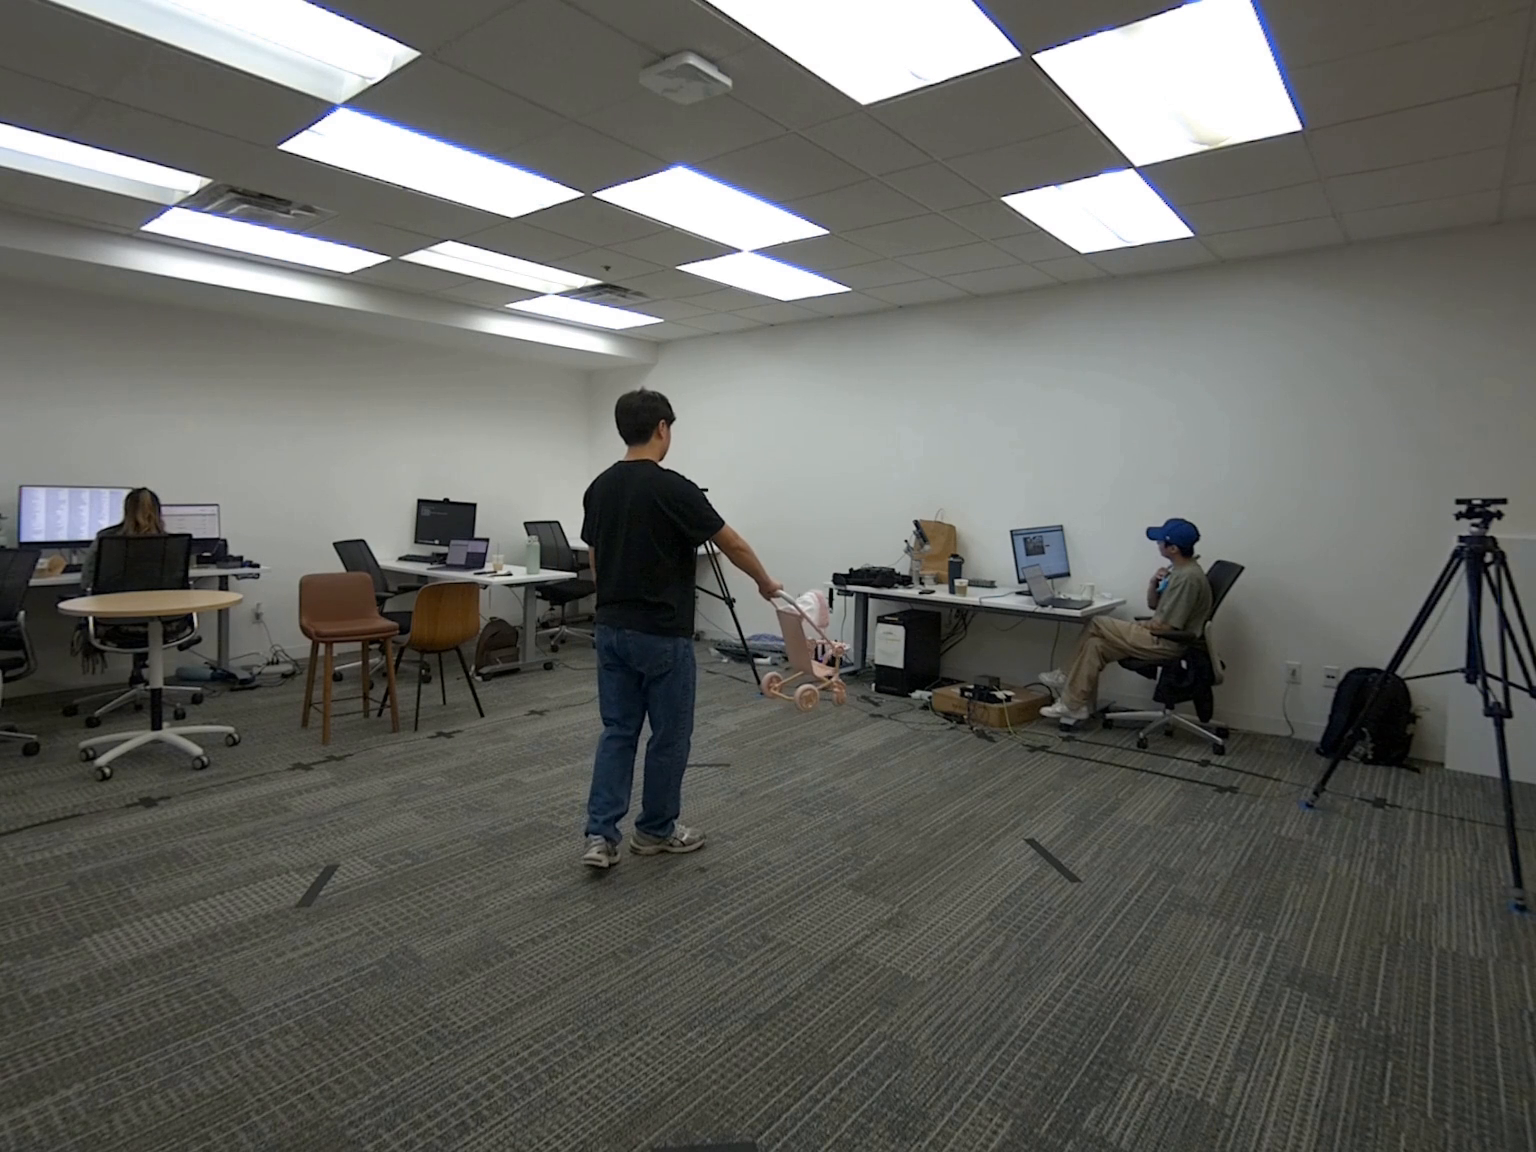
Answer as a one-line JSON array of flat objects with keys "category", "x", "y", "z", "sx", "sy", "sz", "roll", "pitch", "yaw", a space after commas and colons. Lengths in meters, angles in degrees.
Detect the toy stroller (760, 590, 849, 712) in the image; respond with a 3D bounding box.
[{"category": "toy stroller", "x": 0.161, "y": 0.296, "z": 3.433, "sx": 0.334, "sy": 0.532, "sz": 0.289, "roll": -7, "pitch": 6, "yaw": -26}]
